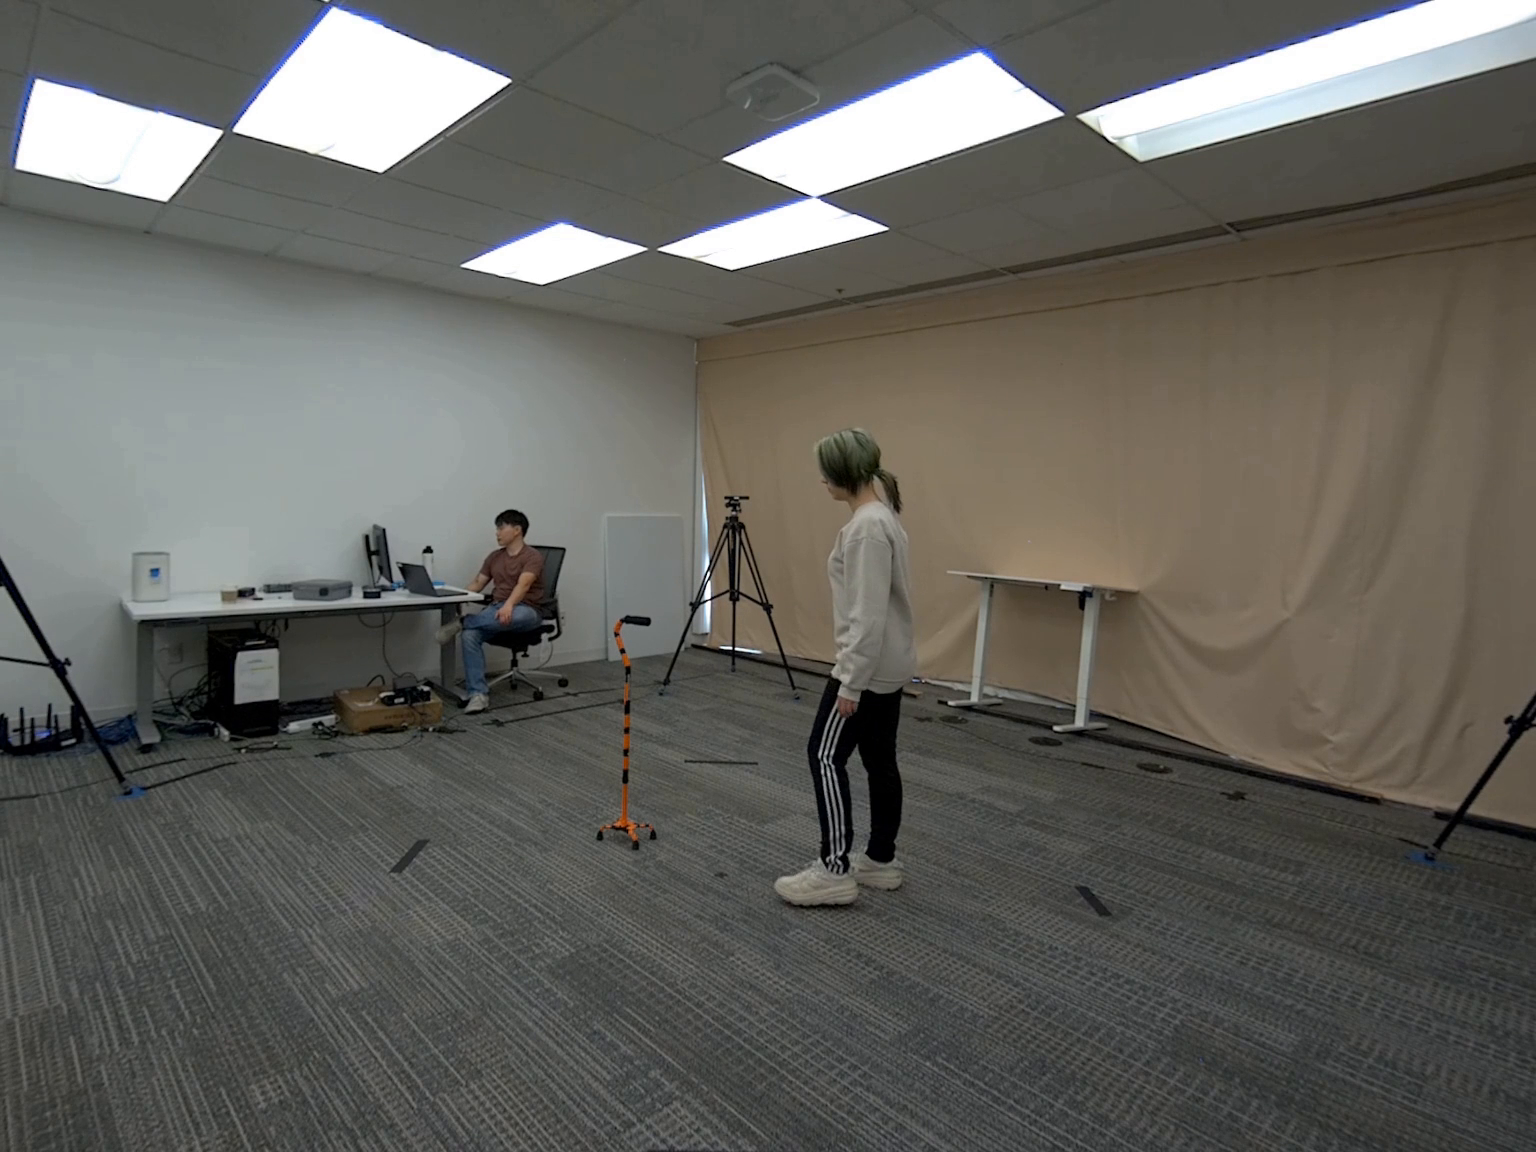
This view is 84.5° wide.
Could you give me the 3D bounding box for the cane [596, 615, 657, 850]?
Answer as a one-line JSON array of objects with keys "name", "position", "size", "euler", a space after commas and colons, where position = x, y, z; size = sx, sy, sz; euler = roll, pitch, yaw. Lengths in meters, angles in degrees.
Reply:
[{"name": "cane", "position": [-0.570, 0.610, 3.390], "size": [0.210, 0.906, 0.149], "euler": [2, 3, 26]}]
